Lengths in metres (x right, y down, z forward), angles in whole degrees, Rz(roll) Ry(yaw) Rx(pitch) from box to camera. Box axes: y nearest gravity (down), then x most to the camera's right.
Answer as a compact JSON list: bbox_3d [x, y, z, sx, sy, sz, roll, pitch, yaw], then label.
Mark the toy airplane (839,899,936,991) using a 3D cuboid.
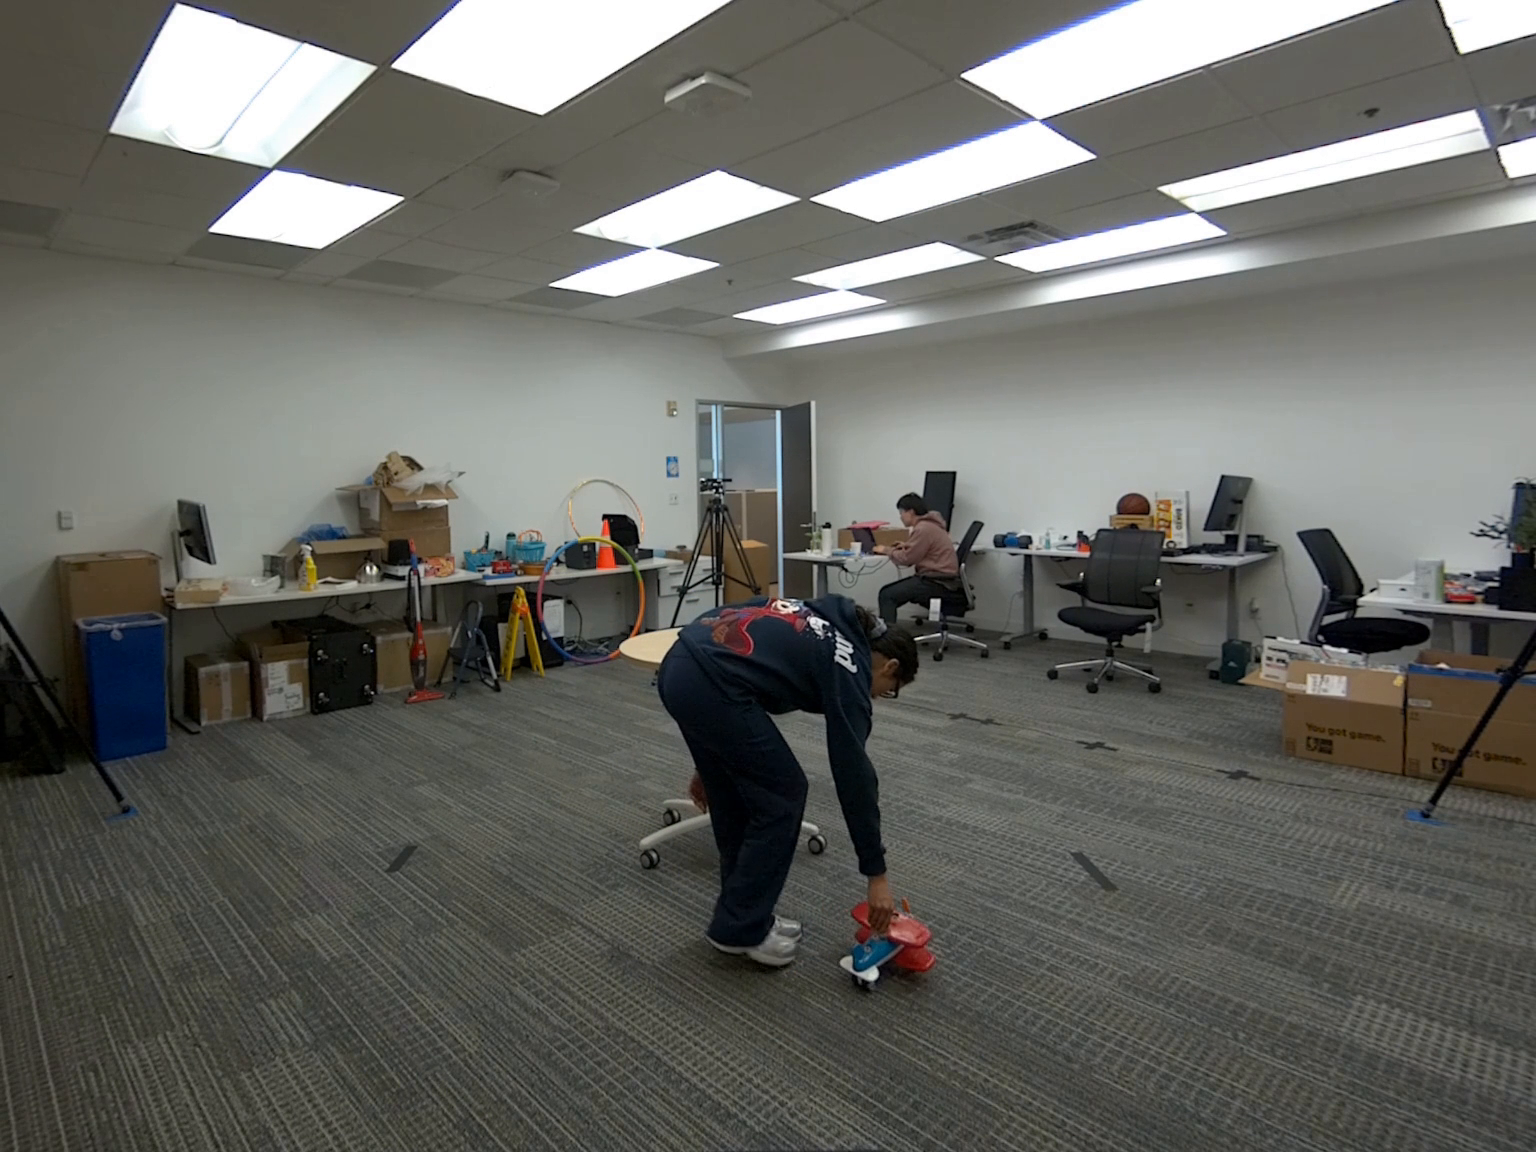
[{"bbox_3d":[0.337,1.042,2.382,0.256,0.156,0.255,0,4,20],"label":"toy airplane"}]
